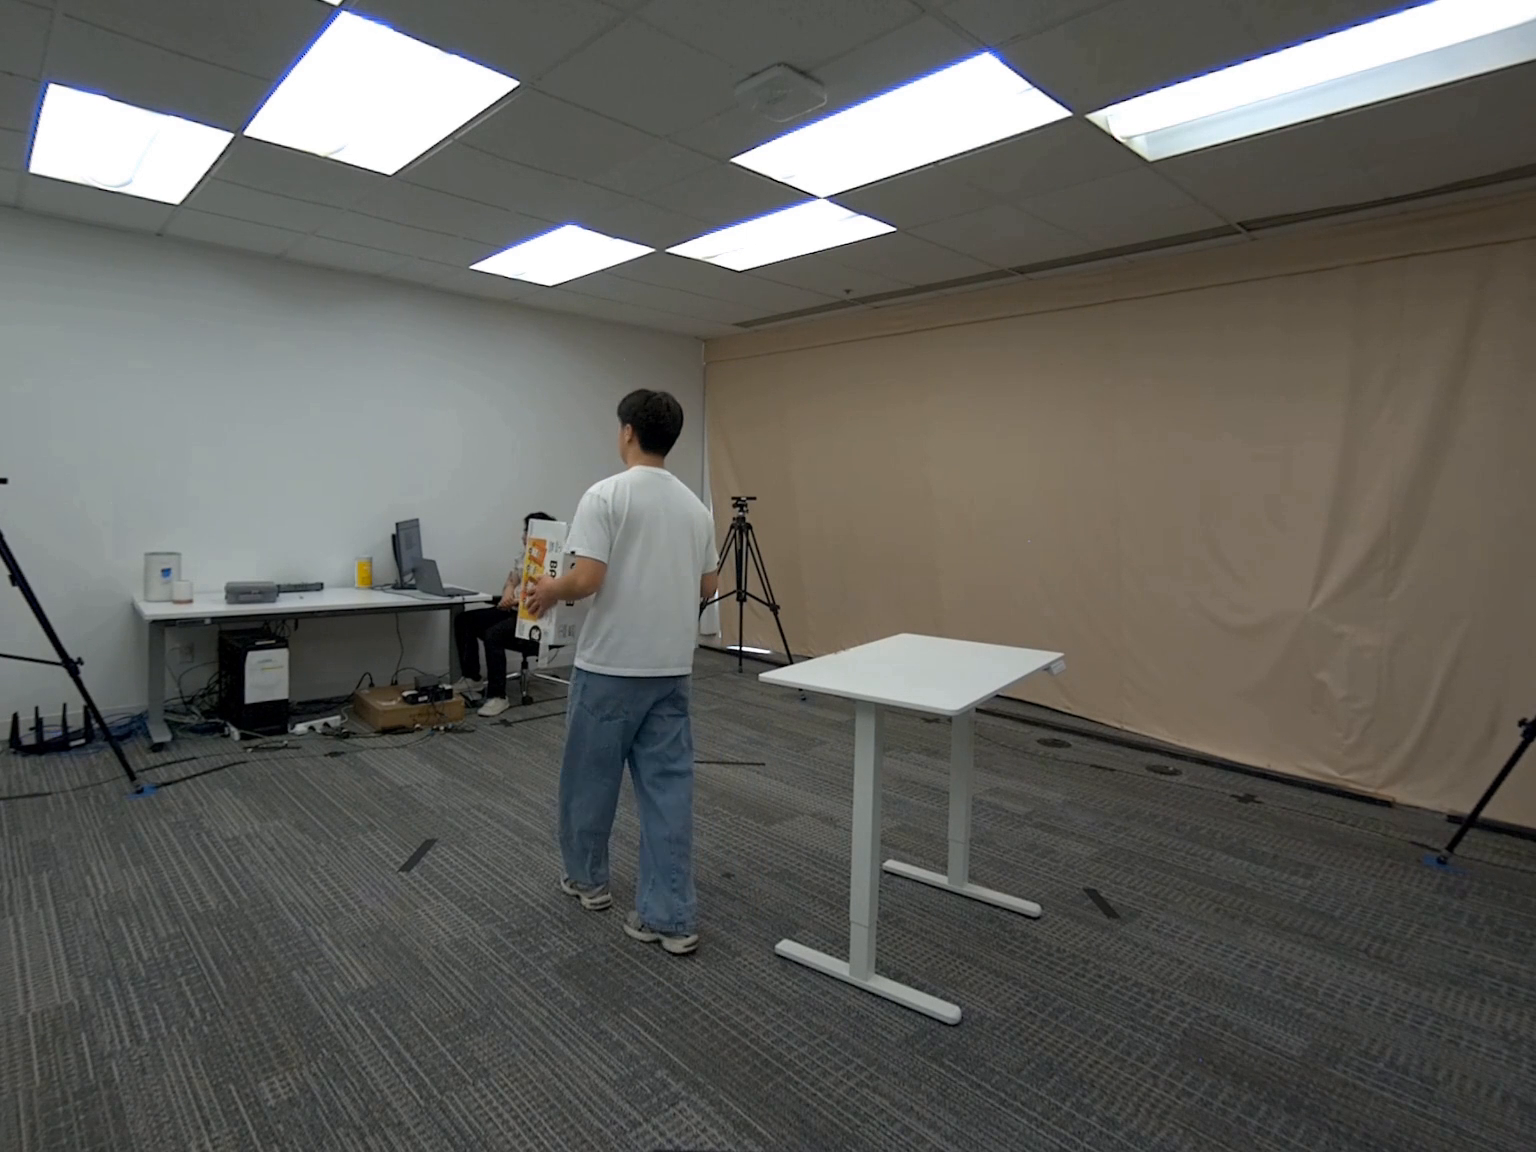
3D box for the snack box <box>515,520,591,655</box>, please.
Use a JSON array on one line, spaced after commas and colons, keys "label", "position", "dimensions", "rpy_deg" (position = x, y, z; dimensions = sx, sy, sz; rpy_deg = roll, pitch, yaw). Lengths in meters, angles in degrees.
[{"label": "snack box", "position": [-0.665, 0.027, 2.943], "dimensions": [0.211, 0.405, 0.332], "rpy_deg": [6, -1, 36]}]
